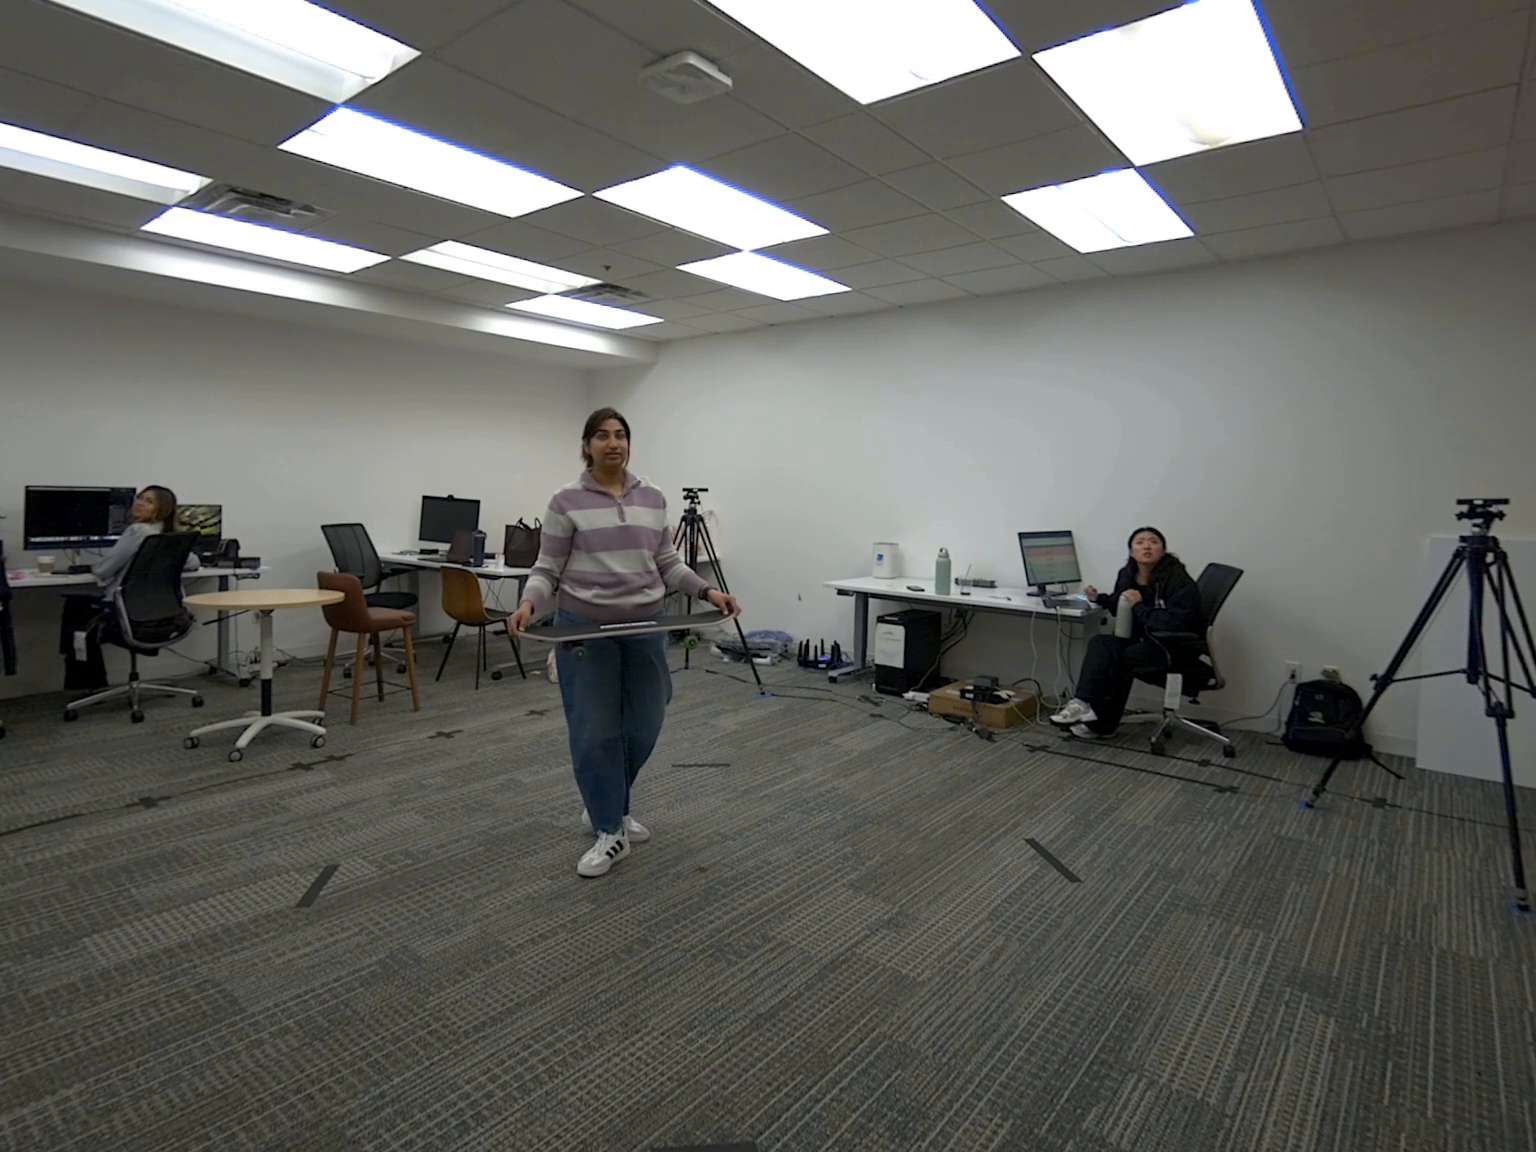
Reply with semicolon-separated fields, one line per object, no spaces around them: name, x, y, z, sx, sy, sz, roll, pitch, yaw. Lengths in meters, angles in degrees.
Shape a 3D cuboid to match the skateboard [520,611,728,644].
skateboard;-0.501;0.206;2.987;0.773;0.110;0.197;-4;6;-16
